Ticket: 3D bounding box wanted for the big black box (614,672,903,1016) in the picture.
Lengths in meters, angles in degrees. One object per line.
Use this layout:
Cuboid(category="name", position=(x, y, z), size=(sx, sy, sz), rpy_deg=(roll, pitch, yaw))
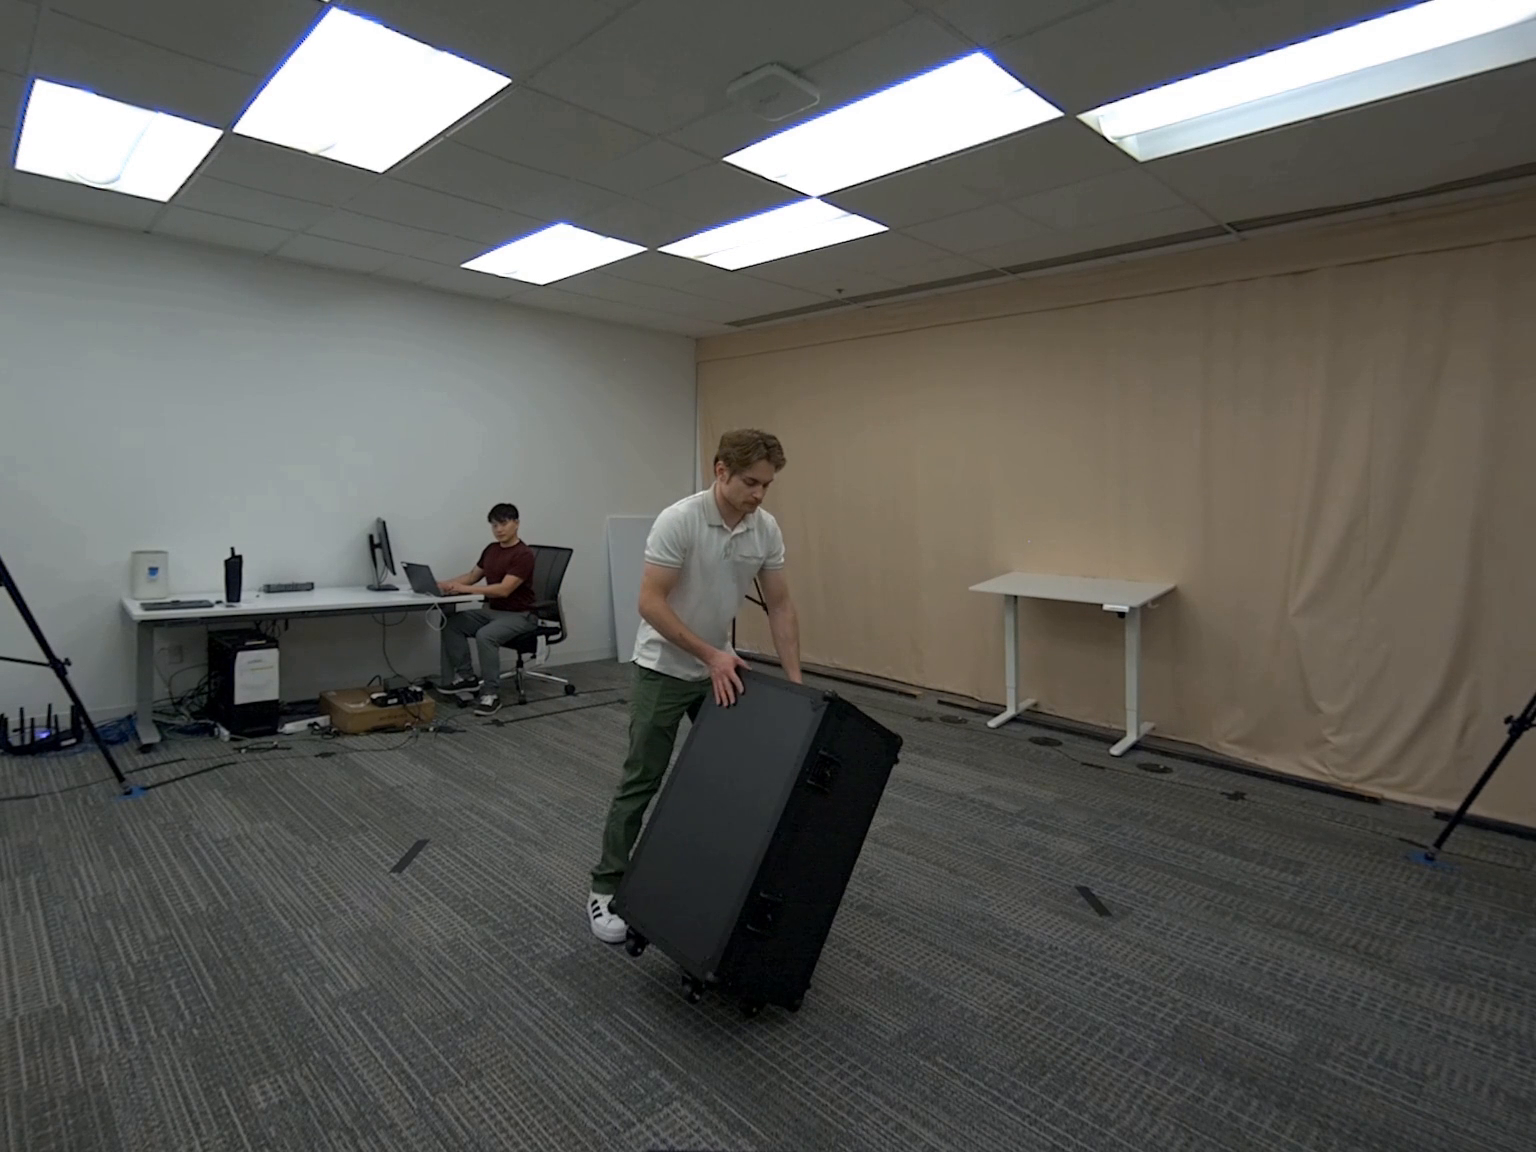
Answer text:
Cuboid(category="big black box", position=(-0.049, 0.749, 2.413), size=(0.537, 0.873, 0.373), rpy_deg=(7, -23, 49))
